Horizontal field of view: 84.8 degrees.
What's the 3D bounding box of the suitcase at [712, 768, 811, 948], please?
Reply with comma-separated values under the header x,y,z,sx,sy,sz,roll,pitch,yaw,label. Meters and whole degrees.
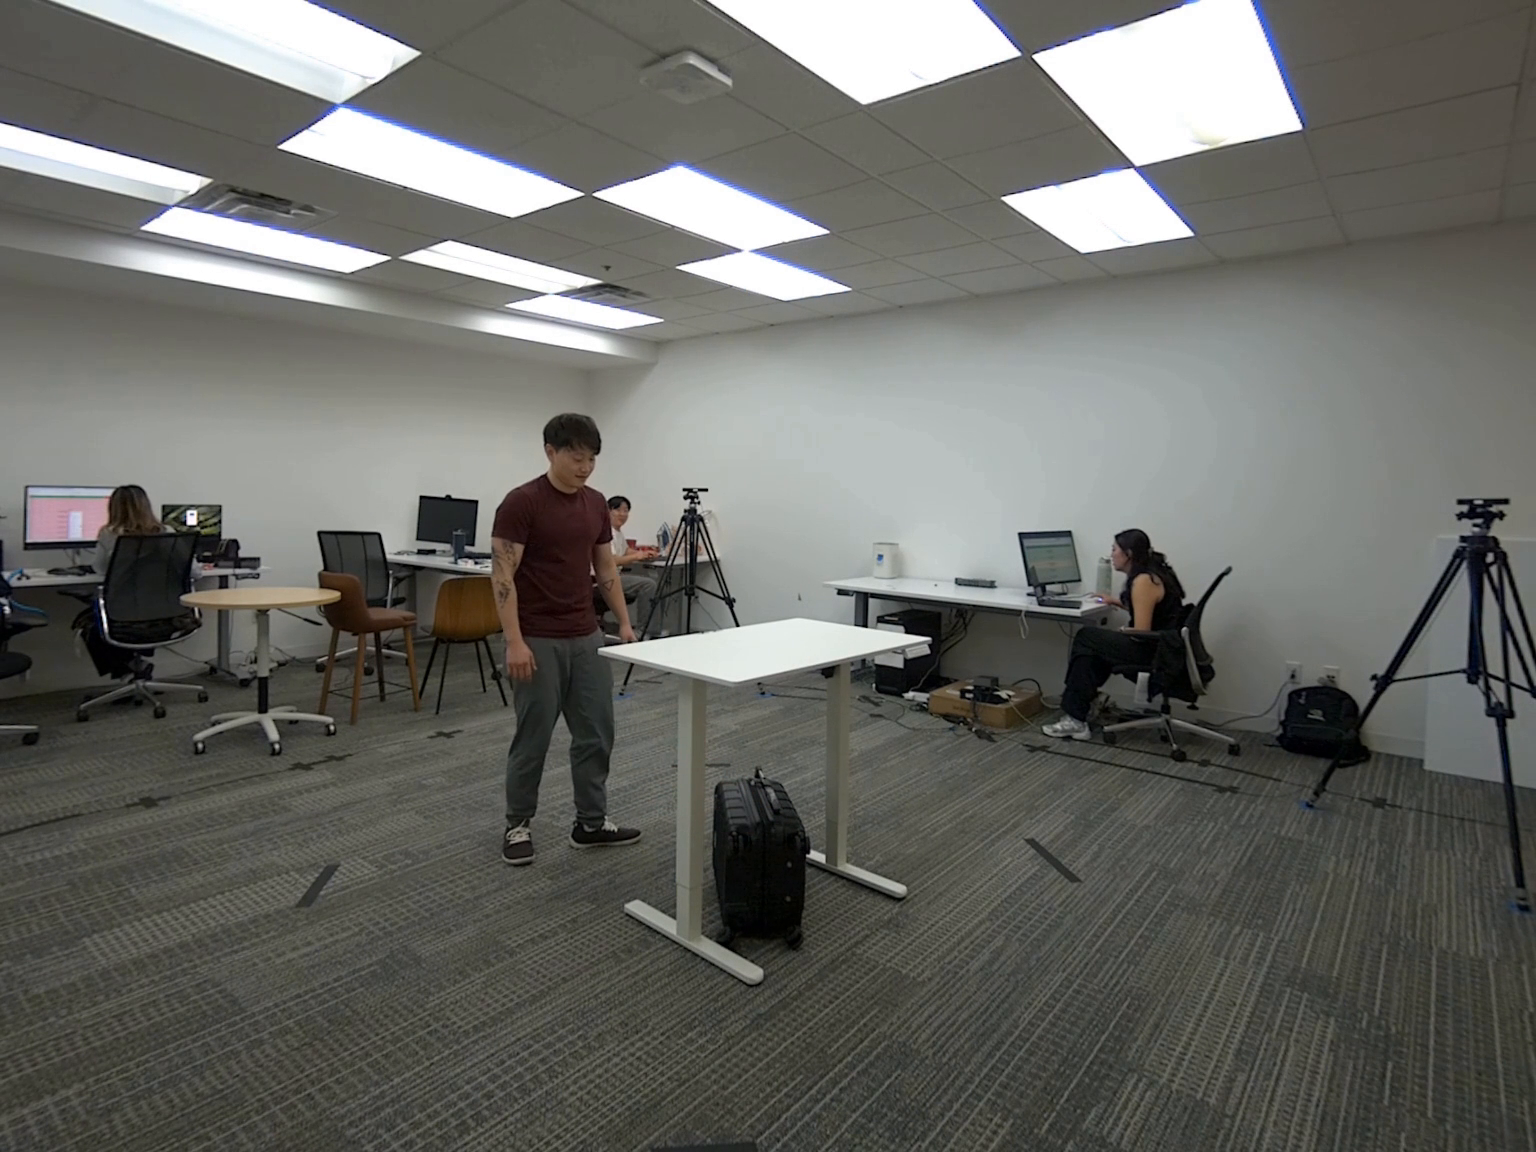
x,y,z,sx,sy,sz,roll,pitch,yaw,label
-0.089,0.891,3.026,0.254,0.383,0.991,2,4,-11,suitcase
